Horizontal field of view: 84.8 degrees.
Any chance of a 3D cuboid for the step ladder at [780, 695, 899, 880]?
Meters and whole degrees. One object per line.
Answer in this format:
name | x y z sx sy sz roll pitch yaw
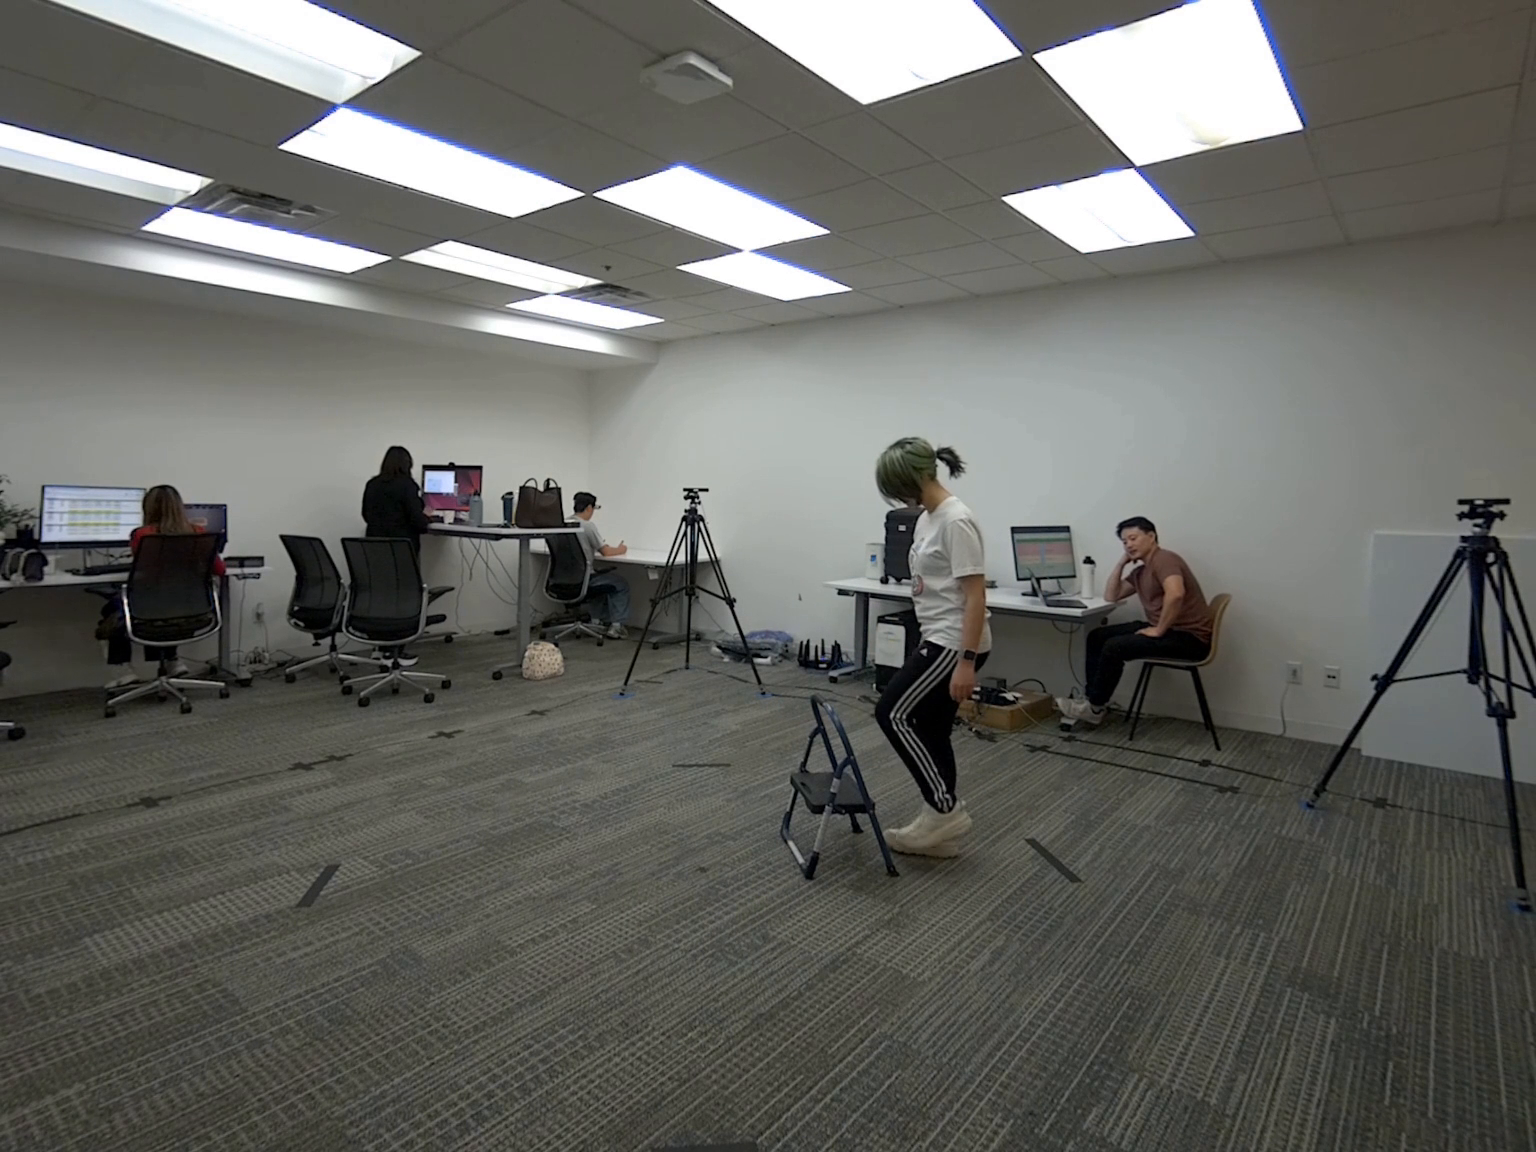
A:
step ladder | 0.261 0.764 3.257 0.345 0.604 0.437 1 4 -12
